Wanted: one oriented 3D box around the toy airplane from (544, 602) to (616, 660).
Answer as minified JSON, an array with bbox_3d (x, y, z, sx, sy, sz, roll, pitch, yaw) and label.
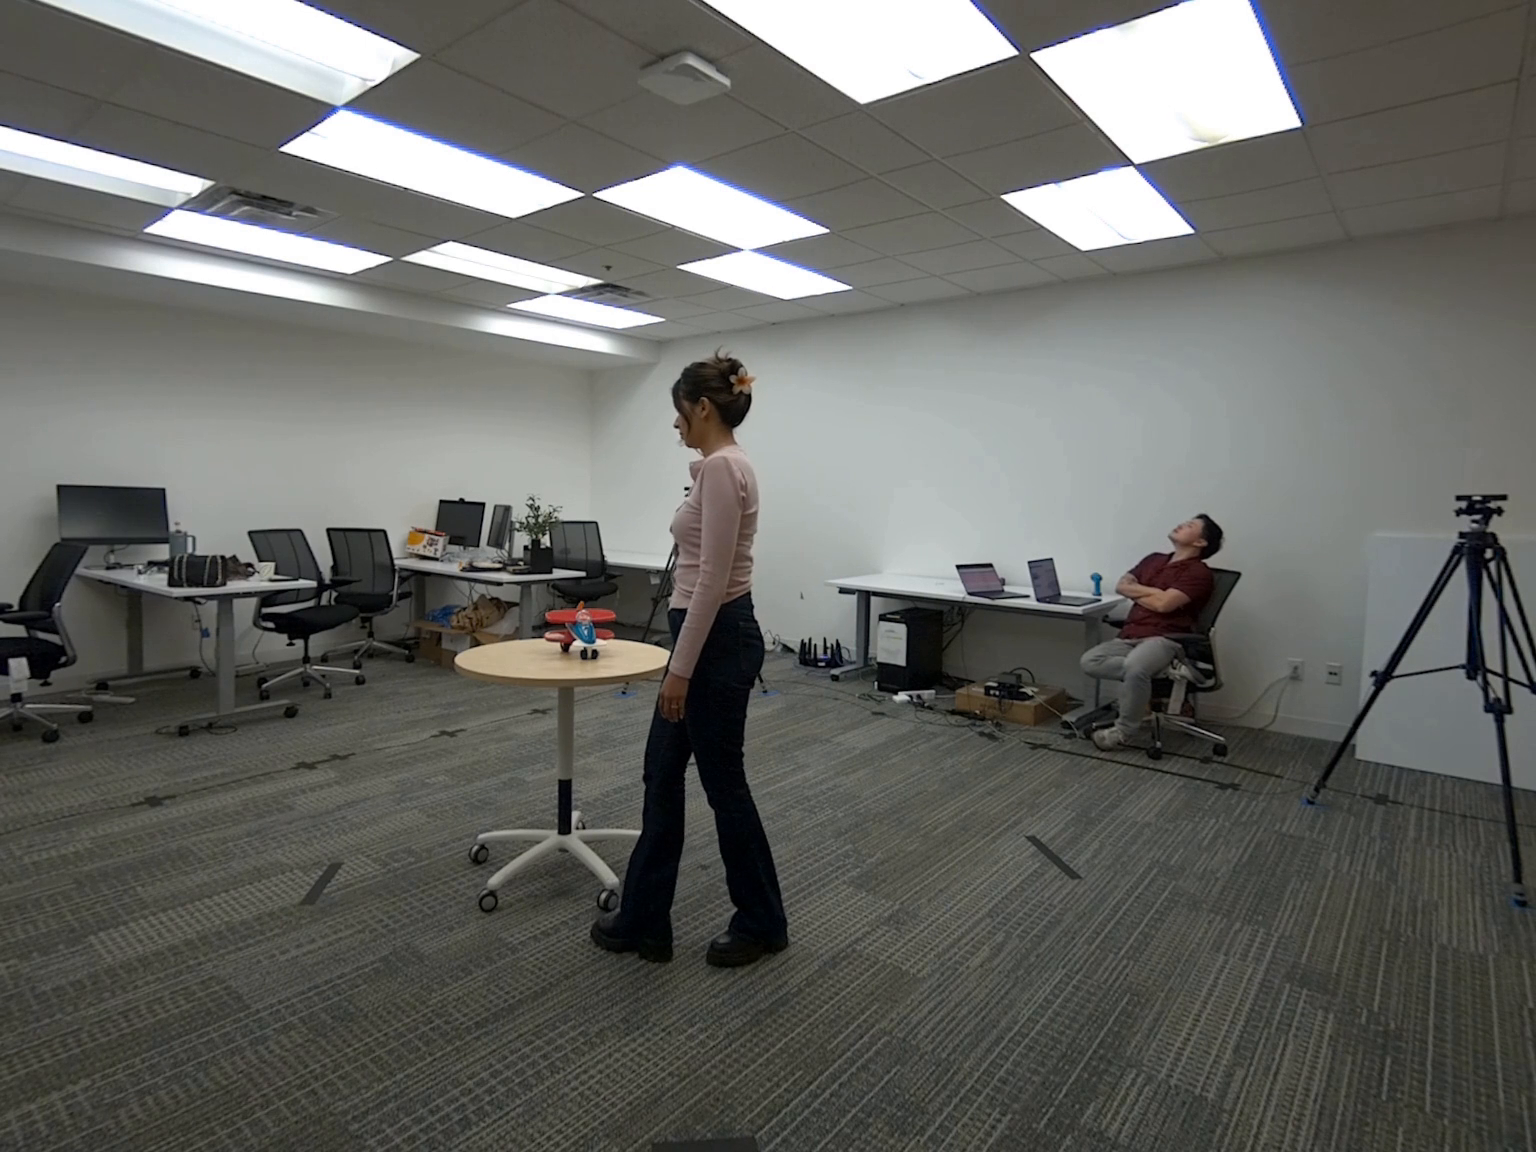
[{"bbox_3d":[-0.665,0.205,3.070,0.268,0.156,0.244,5,6,38],"label":"toy airplane"}]
